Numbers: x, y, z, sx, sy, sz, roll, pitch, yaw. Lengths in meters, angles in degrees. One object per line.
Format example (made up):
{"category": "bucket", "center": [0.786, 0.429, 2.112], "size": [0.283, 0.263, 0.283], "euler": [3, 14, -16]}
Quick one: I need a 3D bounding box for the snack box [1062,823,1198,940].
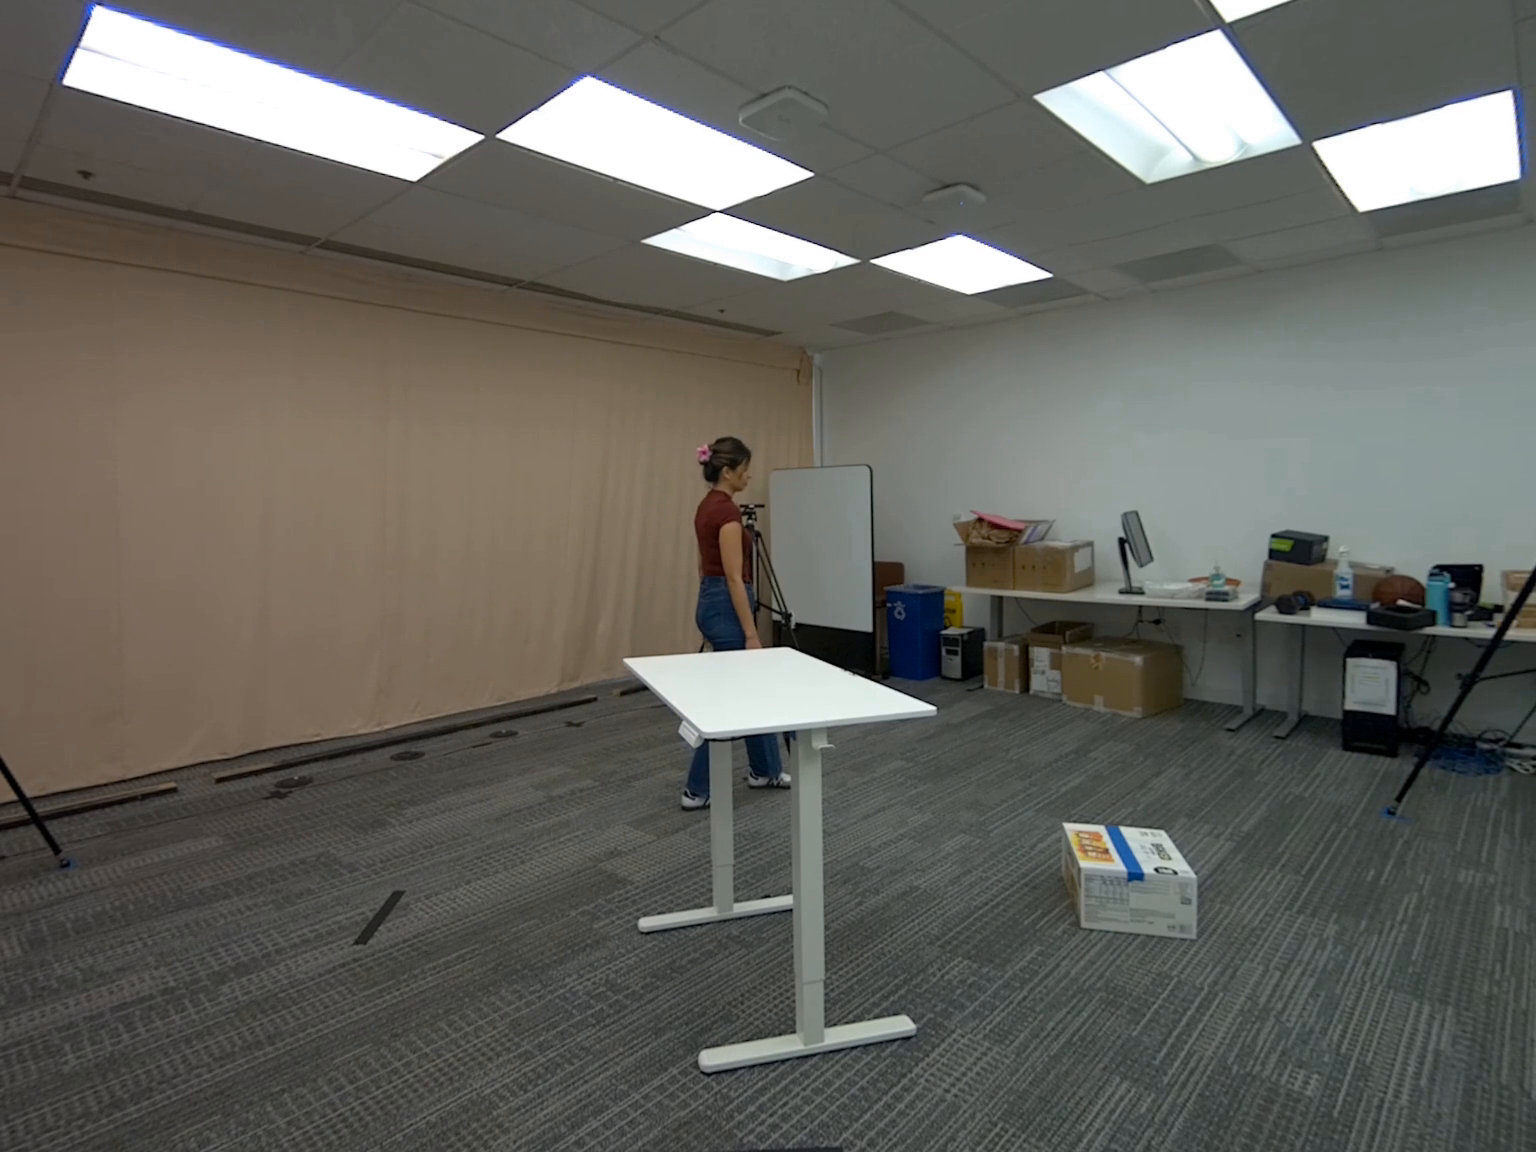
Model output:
{"category": "snack box", "center": [1.226, 1.028, 2.870], "size": [0.345, 0.205, 0.400], "euler": [0, 4, 13]}
